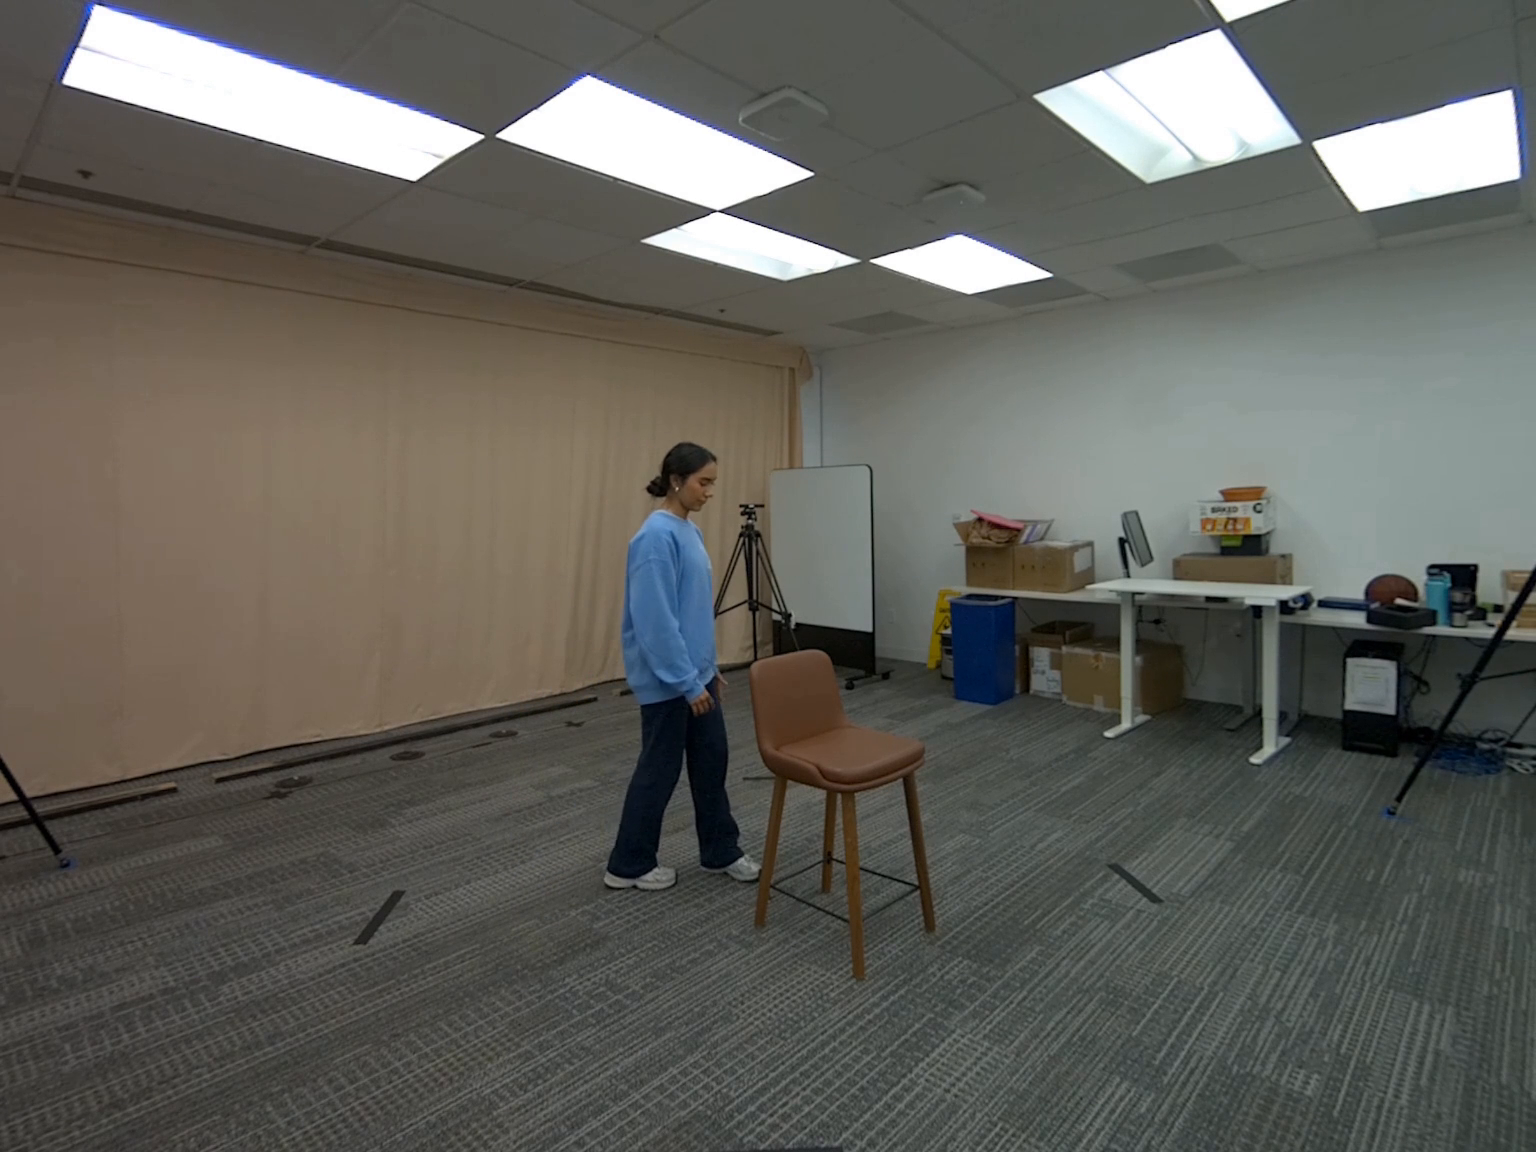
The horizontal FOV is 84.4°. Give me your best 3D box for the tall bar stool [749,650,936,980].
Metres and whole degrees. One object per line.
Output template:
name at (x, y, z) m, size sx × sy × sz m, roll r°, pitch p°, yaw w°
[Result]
tall bar stool at (0.237, 0.721, 2.733) m, size 0.442 × 0.888 × 0.483 m, roll -4°, pitch 3°, yaw -44°
